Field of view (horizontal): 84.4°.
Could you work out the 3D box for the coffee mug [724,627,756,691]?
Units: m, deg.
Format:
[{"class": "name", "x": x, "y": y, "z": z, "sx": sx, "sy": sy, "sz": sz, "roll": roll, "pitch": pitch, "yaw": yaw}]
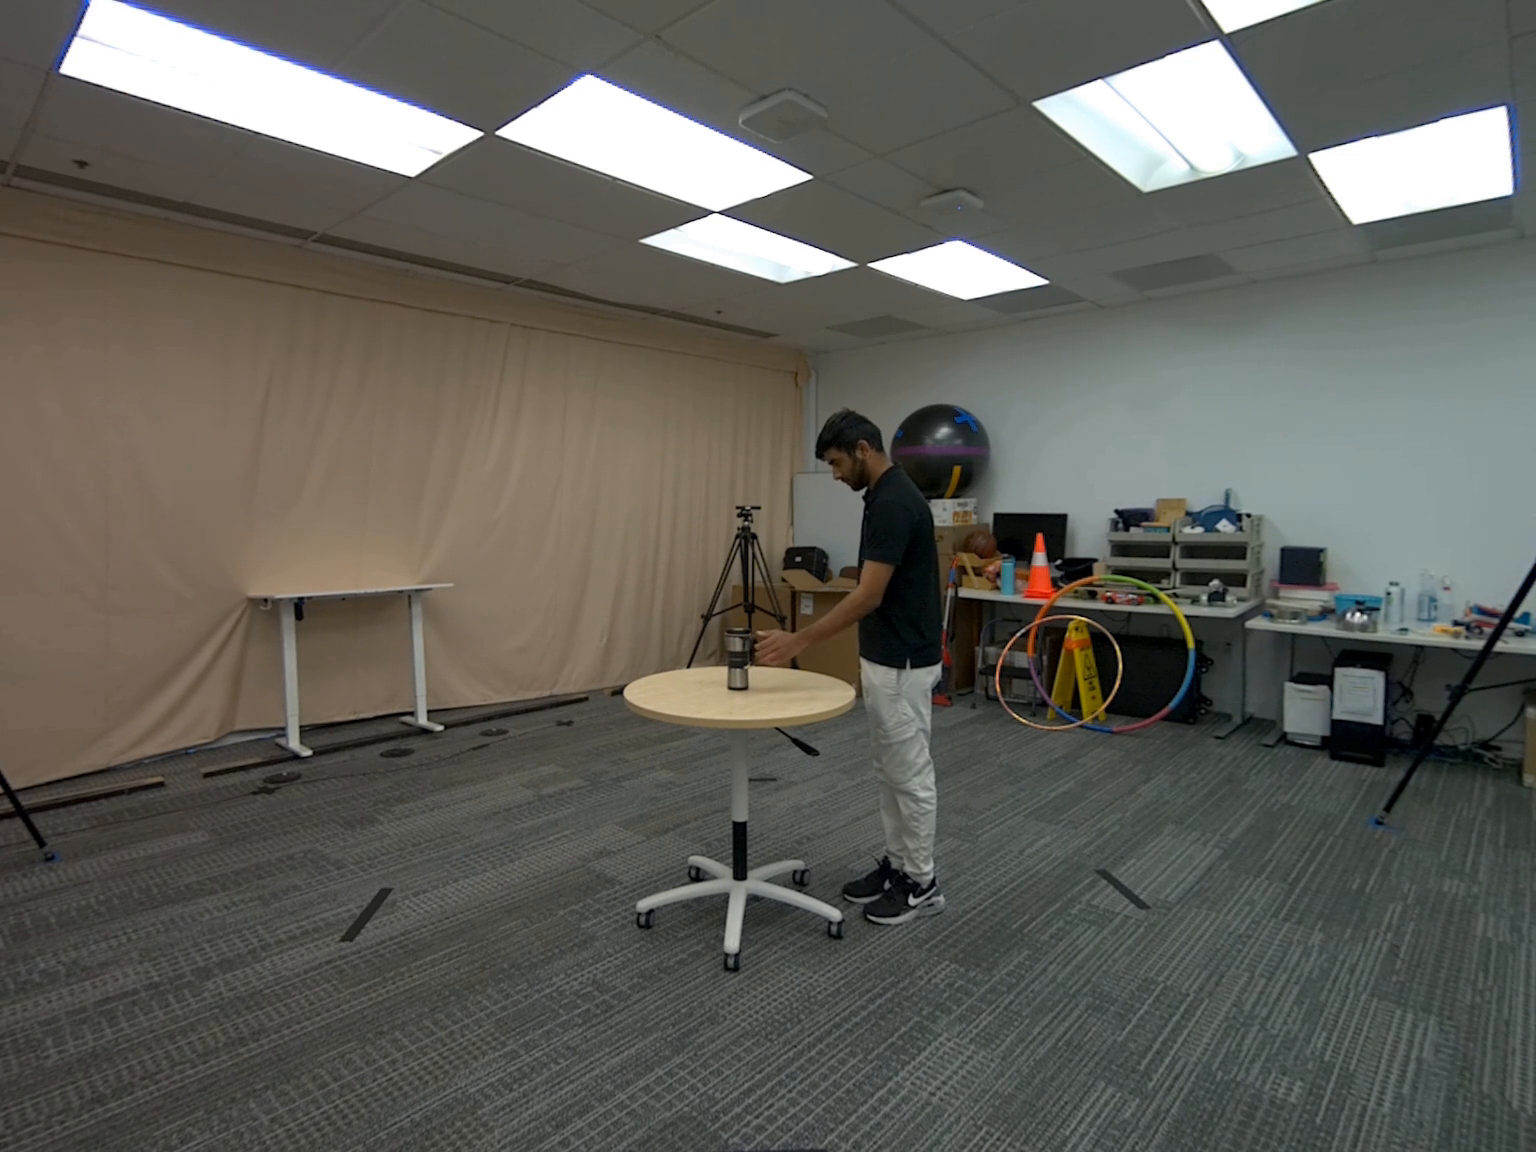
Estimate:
[{"class": "coffee mug", "x": -0.082, "y": 0.283, "z": 2.785, "sx": 0.086, "sy": 0.203, "sz": 0.125, "roll": 2, "pitch": -2, "yaw": -26}]
